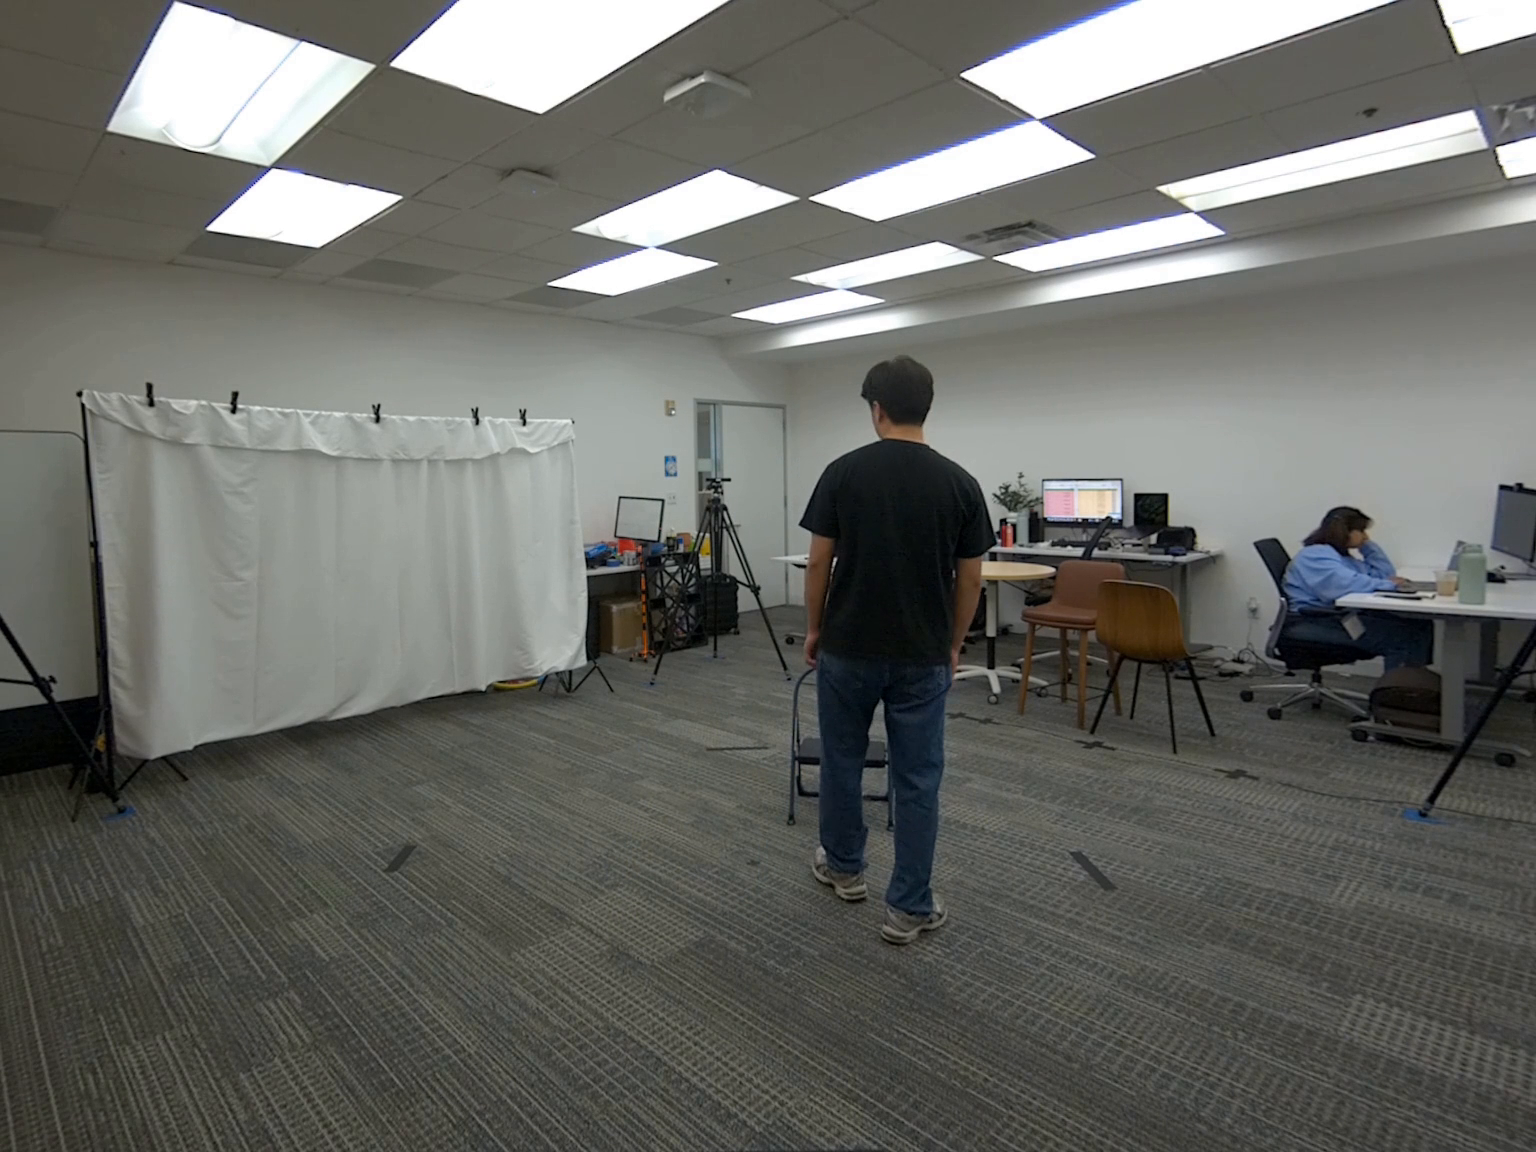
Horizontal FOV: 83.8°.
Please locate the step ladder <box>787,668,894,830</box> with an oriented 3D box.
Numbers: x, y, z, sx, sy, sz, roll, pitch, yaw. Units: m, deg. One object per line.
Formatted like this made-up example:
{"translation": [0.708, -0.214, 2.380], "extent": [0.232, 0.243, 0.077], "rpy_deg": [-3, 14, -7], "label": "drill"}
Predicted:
{"translation": [0.311, 0.685, 3.553], "extent": [0.435, 0.604, 0.347], "rpy_deg": [0, 4, 10], "label": "step ladder"}
